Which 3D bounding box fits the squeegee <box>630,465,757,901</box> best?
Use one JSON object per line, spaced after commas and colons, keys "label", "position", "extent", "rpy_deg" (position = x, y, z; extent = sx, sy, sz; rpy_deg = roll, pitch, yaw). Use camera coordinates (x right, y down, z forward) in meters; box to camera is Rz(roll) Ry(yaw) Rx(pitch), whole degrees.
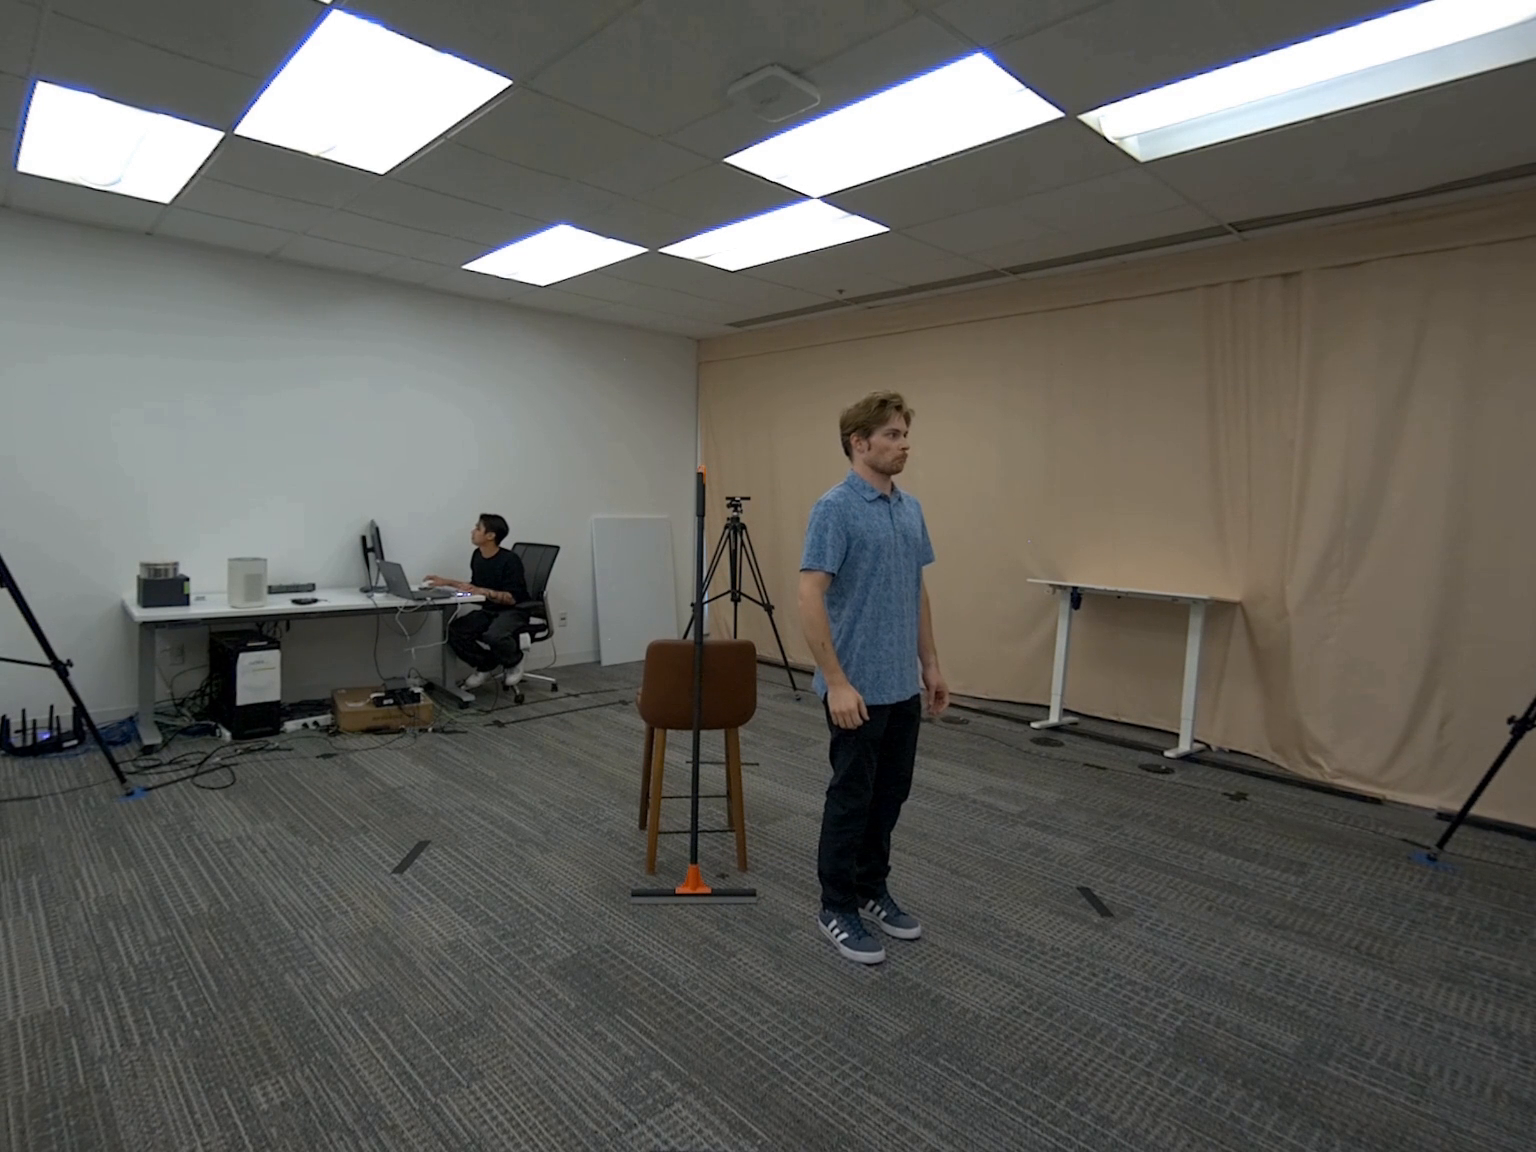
{"label": "squeegee", "position": [-0.244, 0.351, 3.000], "extent": [0.435, 1.544, 0.053], "rpy_deg": [2, -5, -7]}
